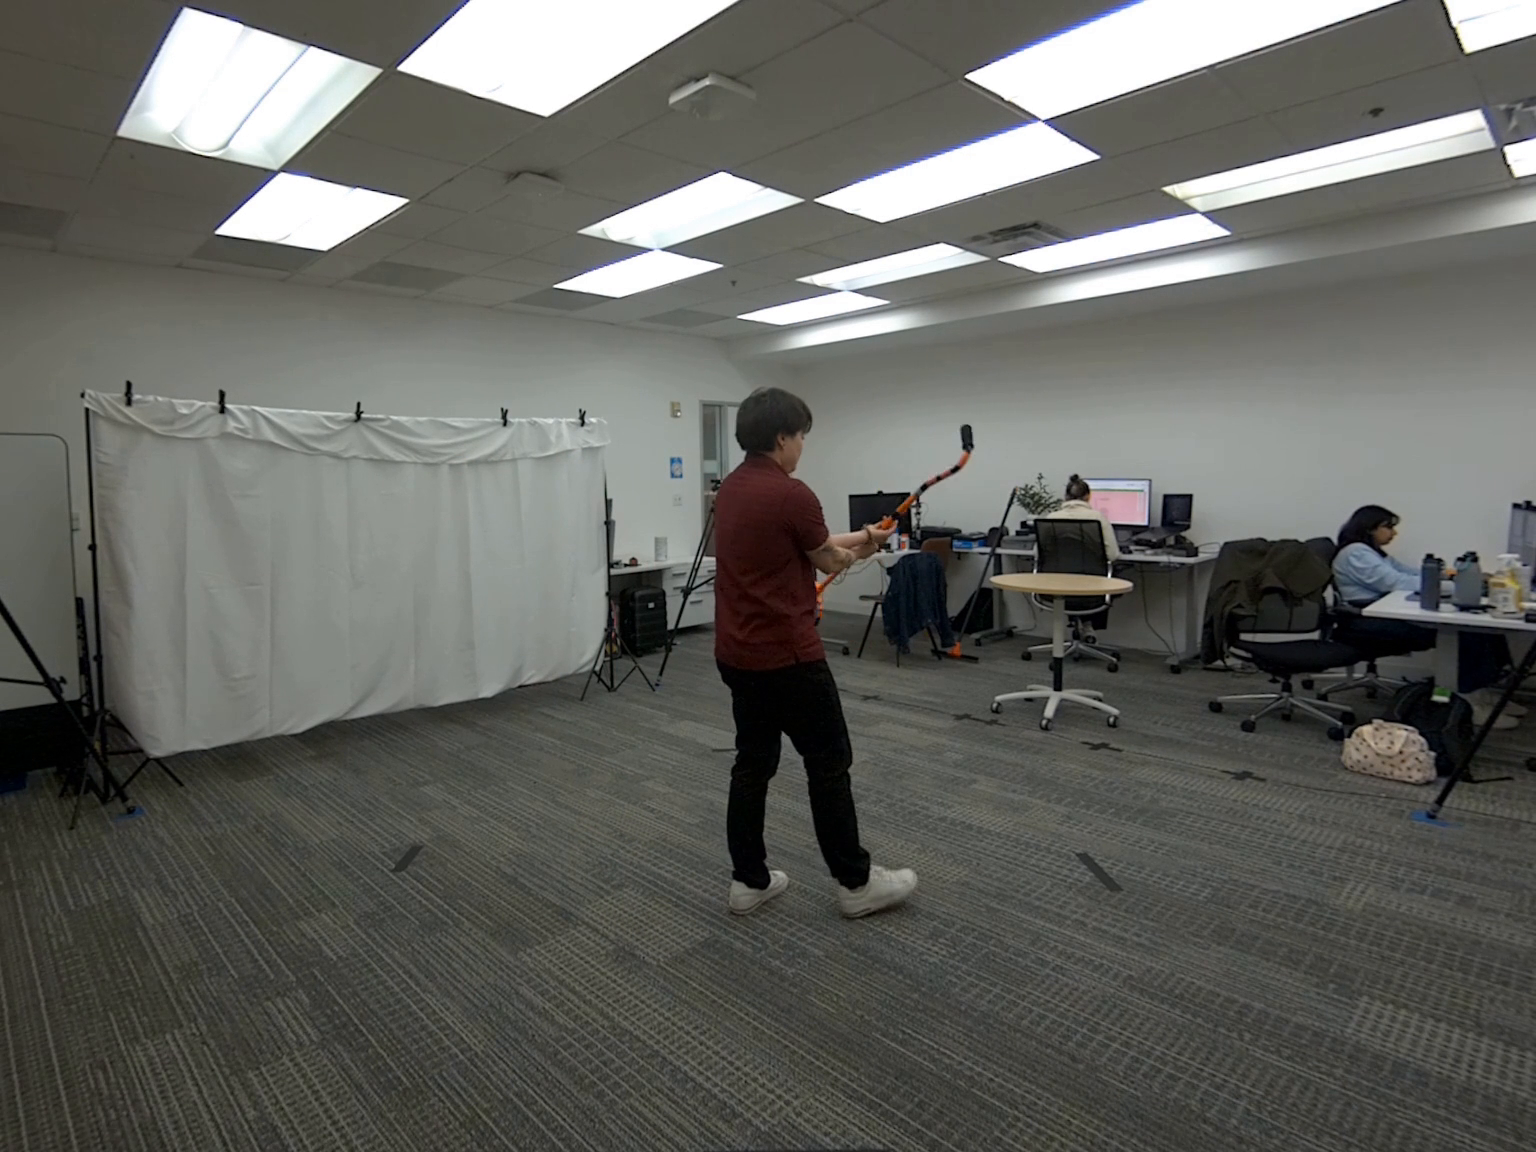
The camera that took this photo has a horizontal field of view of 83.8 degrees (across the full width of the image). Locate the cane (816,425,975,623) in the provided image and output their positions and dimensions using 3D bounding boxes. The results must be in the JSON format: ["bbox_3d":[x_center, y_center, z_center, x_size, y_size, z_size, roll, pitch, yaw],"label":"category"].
[{"bbox_3d":[0.389,-0.168,2.952,0.149,0.210,0.906,30,-49,-15],"label":"cane"}]
